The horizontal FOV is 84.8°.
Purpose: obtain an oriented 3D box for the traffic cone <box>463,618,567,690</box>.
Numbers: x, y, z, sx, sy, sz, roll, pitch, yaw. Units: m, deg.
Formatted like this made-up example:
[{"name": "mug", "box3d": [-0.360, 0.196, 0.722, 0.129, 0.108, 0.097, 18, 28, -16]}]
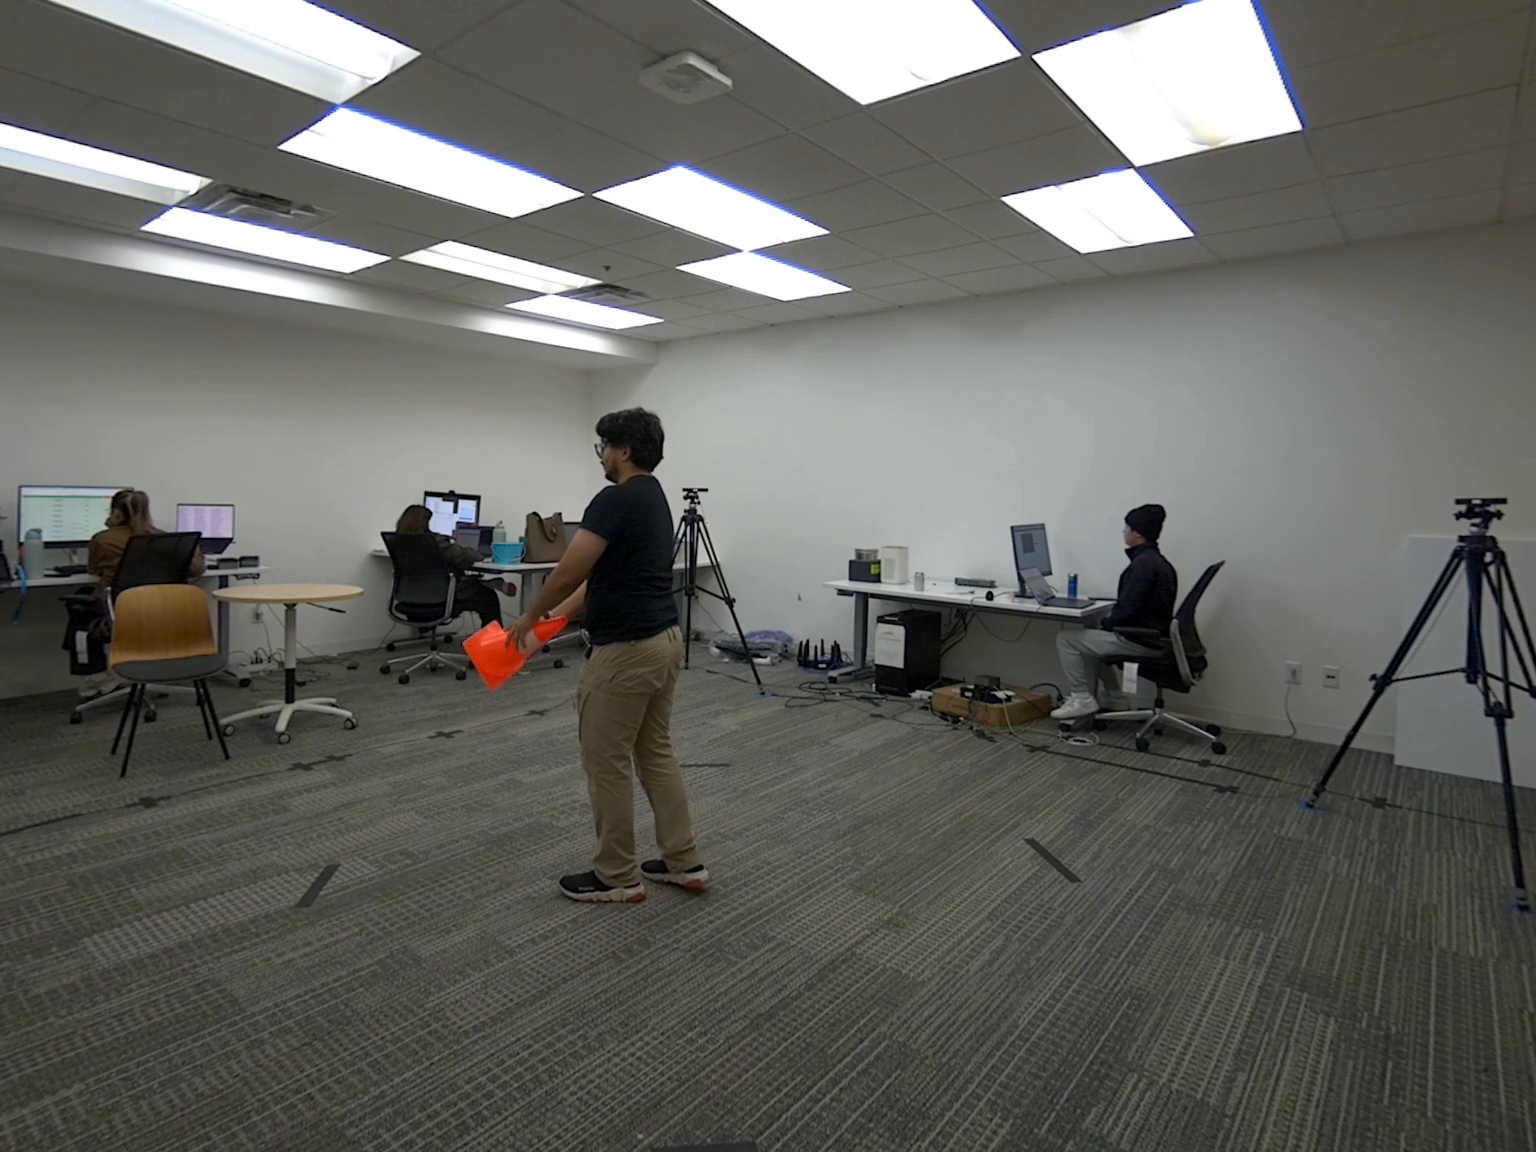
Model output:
[{"name": "traffic cone", "box3d": [-0.836, 0.219, 2.944, 0.389, 0.202, 0.204, -24, 8, 29]}]
